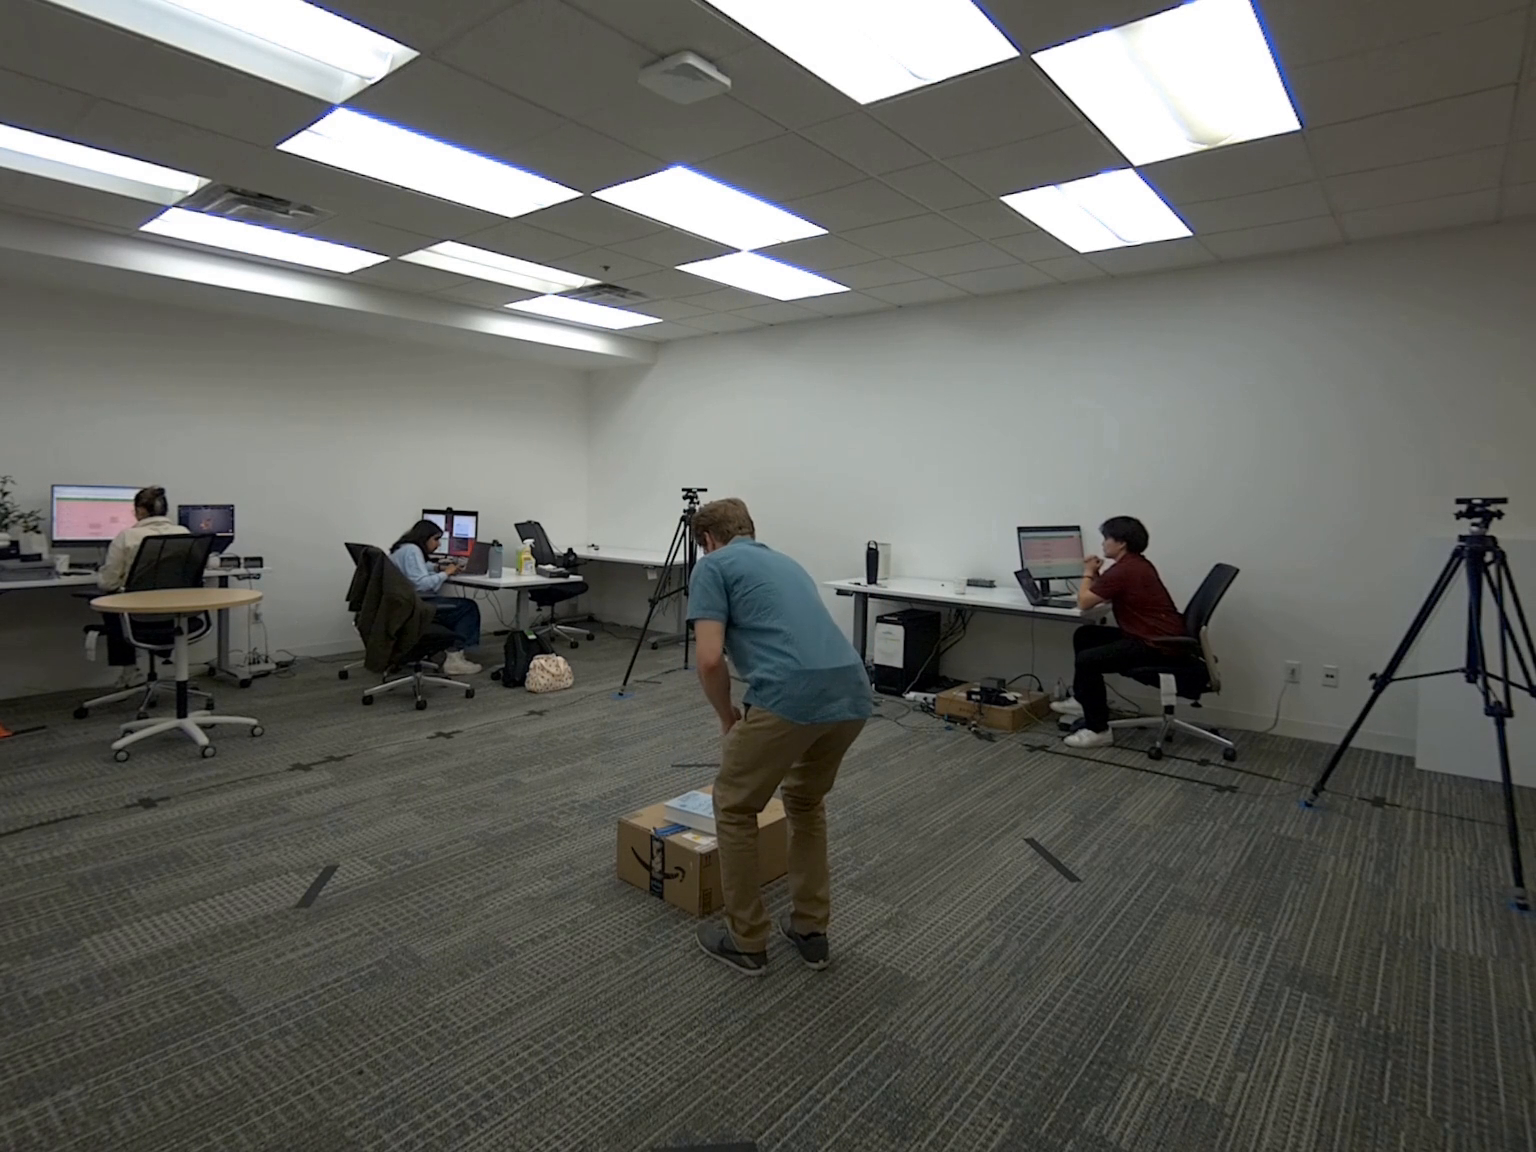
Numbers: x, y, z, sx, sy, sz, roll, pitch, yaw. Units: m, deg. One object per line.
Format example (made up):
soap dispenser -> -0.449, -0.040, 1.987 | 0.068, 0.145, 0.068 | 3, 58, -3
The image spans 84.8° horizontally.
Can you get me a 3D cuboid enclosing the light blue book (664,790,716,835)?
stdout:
light blue book -> -0.225, 0.832, 3.025 | 0.269, 0.059, 0.186 | 4, 6, 33
